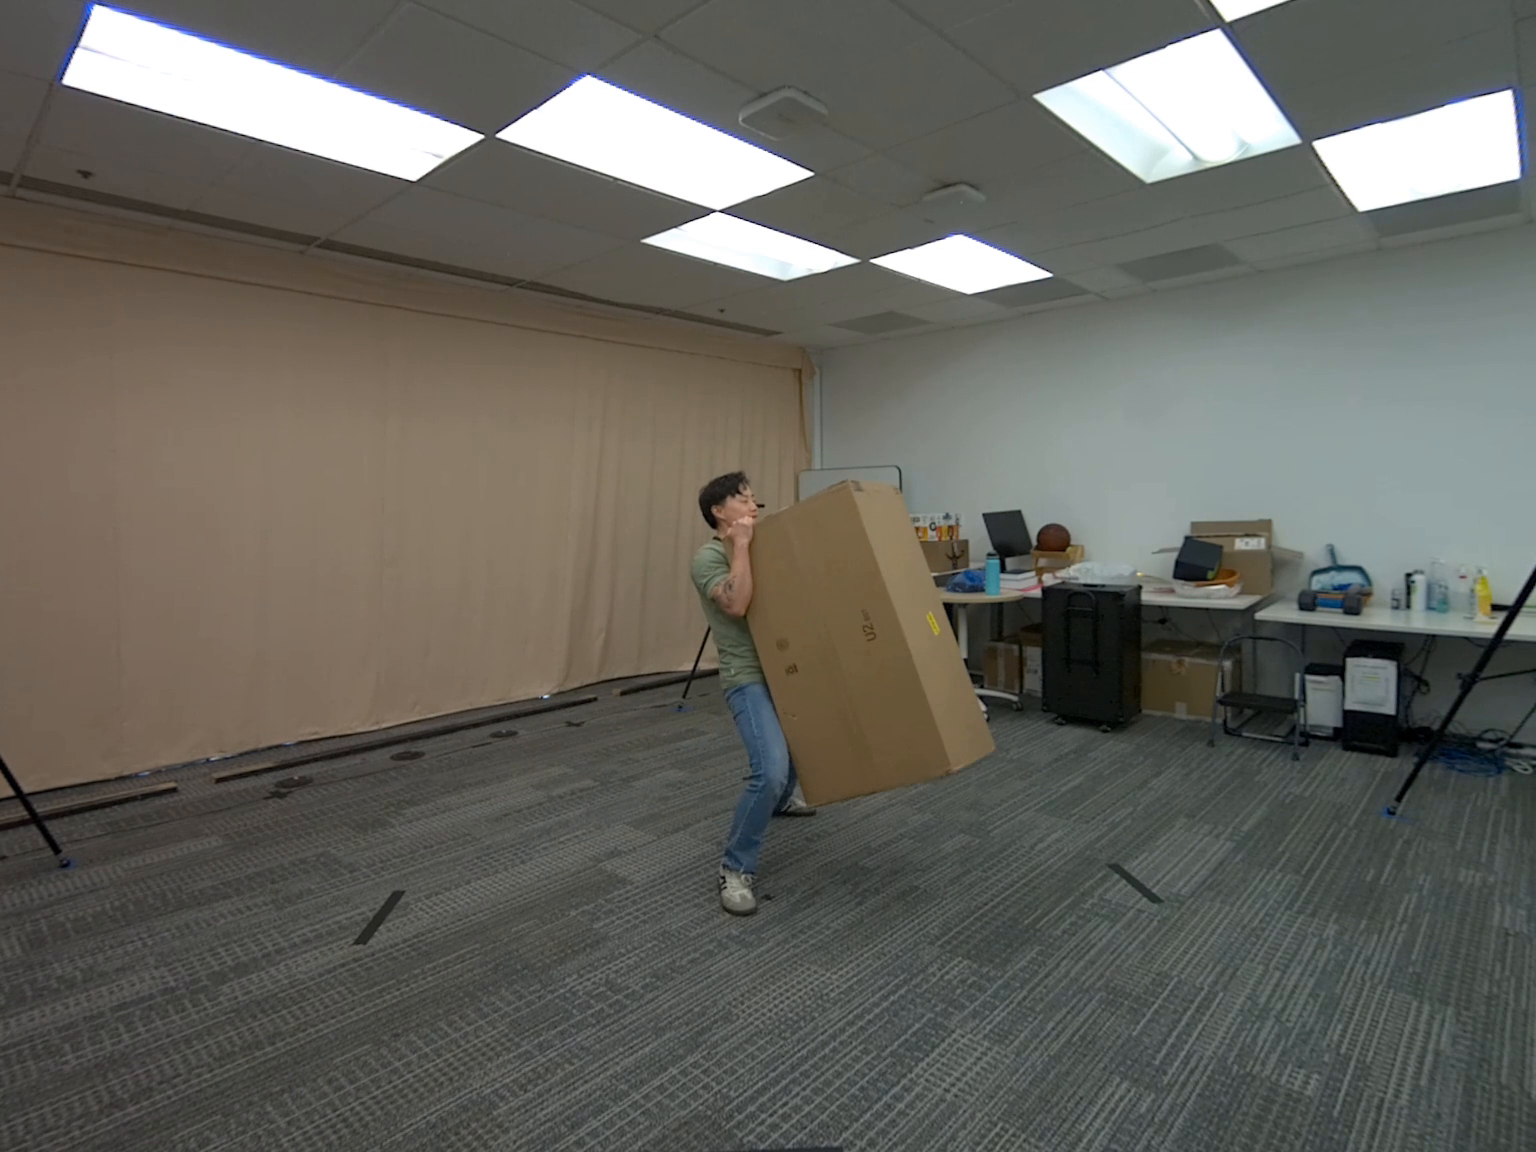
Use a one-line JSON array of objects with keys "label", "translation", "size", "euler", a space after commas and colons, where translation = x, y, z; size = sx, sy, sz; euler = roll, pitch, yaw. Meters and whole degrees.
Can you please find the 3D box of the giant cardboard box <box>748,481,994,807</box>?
[{"label": "giant cardboard box", "translation": [0.330, 0.230, 3.084], "size": [0.588, 1.037, 0.413], "euler": [-25, -13, 32]}]
